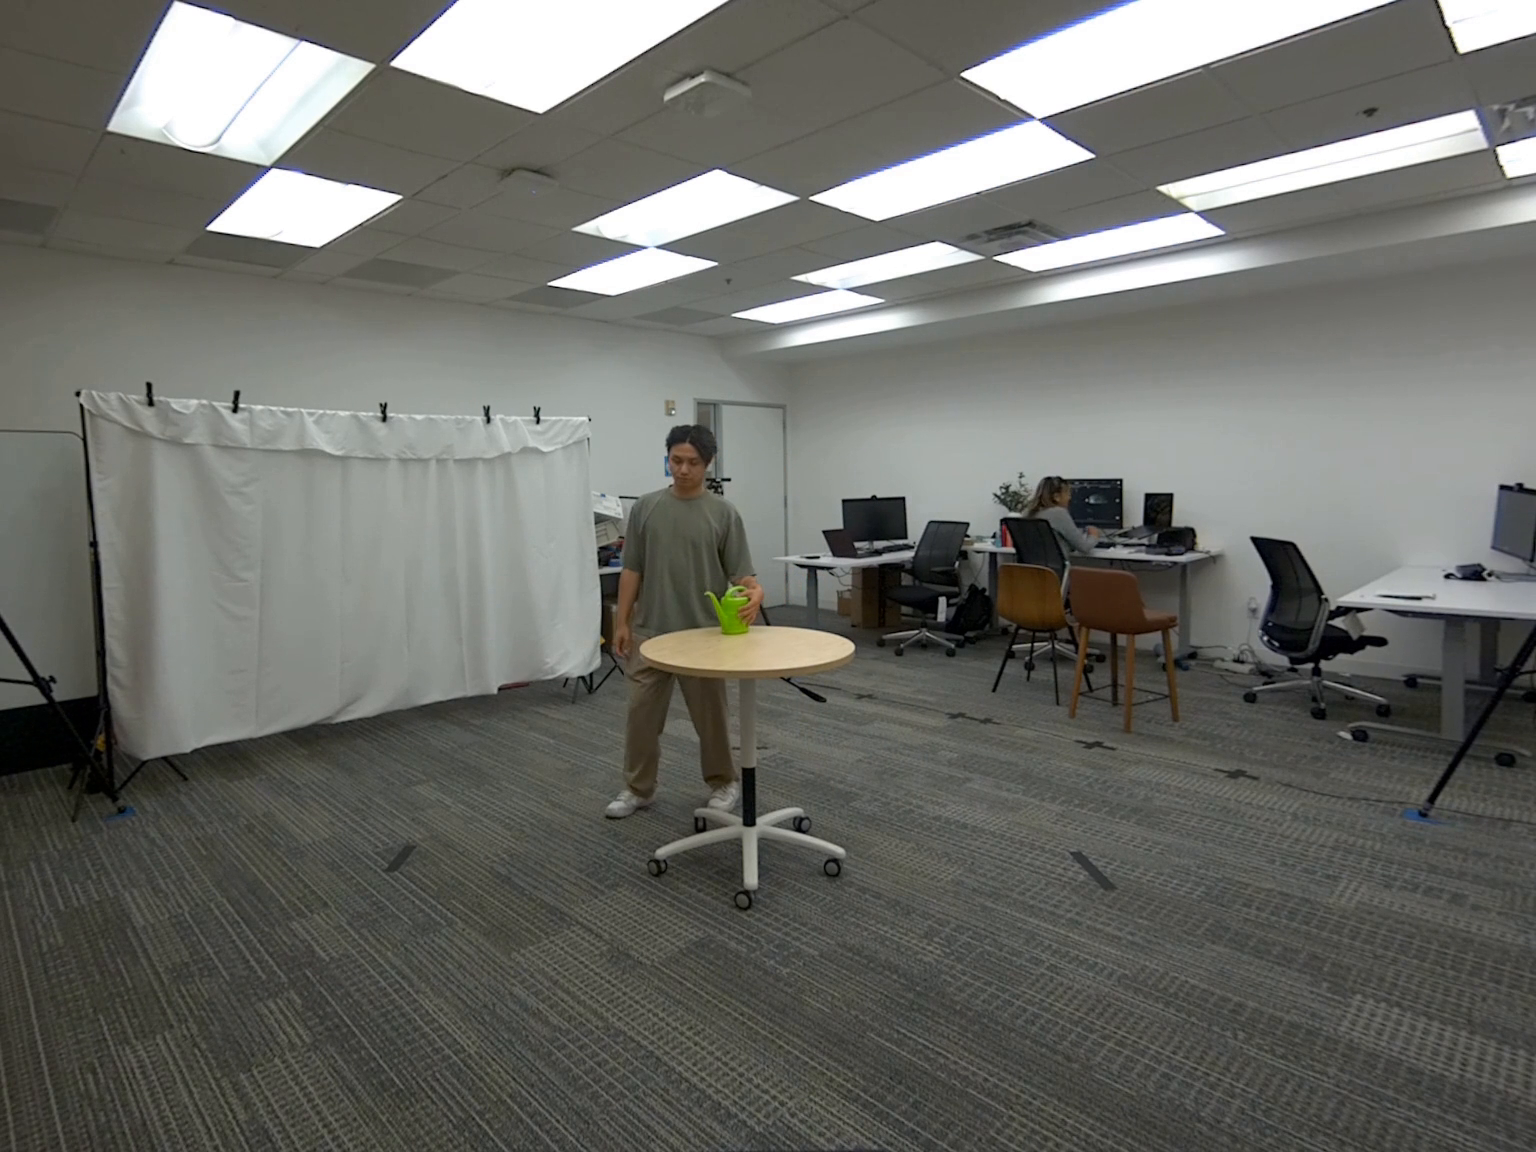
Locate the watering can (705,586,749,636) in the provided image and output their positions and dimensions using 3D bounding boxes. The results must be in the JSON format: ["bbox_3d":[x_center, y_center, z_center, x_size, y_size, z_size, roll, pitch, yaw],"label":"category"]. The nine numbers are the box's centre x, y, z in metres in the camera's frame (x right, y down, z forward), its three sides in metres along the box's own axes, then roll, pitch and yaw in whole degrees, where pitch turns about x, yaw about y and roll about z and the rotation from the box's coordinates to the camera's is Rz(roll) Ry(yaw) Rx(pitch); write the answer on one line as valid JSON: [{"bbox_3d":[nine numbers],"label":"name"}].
[{"bbox_3d":[-0.159,0.137,3.286,0.271,0.176,0.101,-5,6,-43],"label":"watering can"}]
